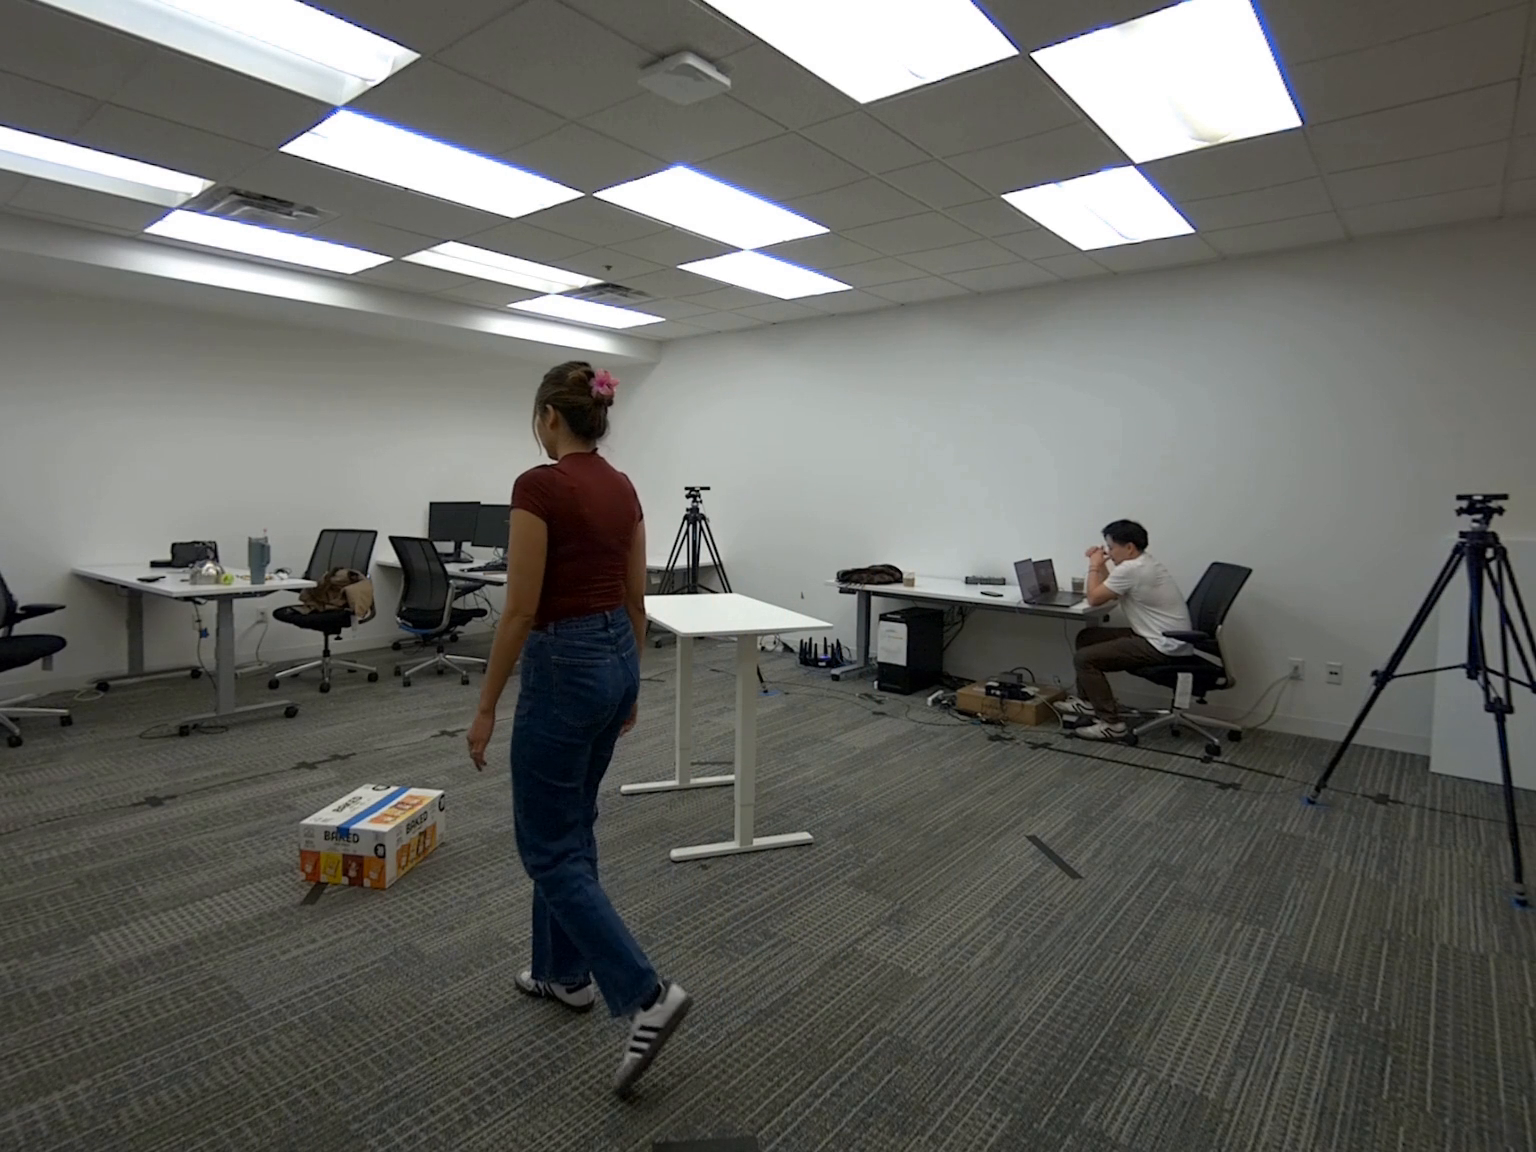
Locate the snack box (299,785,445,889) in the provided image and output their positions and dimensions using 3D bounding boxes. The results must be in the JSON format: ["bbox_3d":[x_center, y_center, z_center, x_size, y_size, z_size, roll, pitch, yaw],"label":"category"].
[{"bbox_3d":[-1.466,0.949,3.132,0.344,0.205,0.402,2,6,9],"label":"snack box"}]
